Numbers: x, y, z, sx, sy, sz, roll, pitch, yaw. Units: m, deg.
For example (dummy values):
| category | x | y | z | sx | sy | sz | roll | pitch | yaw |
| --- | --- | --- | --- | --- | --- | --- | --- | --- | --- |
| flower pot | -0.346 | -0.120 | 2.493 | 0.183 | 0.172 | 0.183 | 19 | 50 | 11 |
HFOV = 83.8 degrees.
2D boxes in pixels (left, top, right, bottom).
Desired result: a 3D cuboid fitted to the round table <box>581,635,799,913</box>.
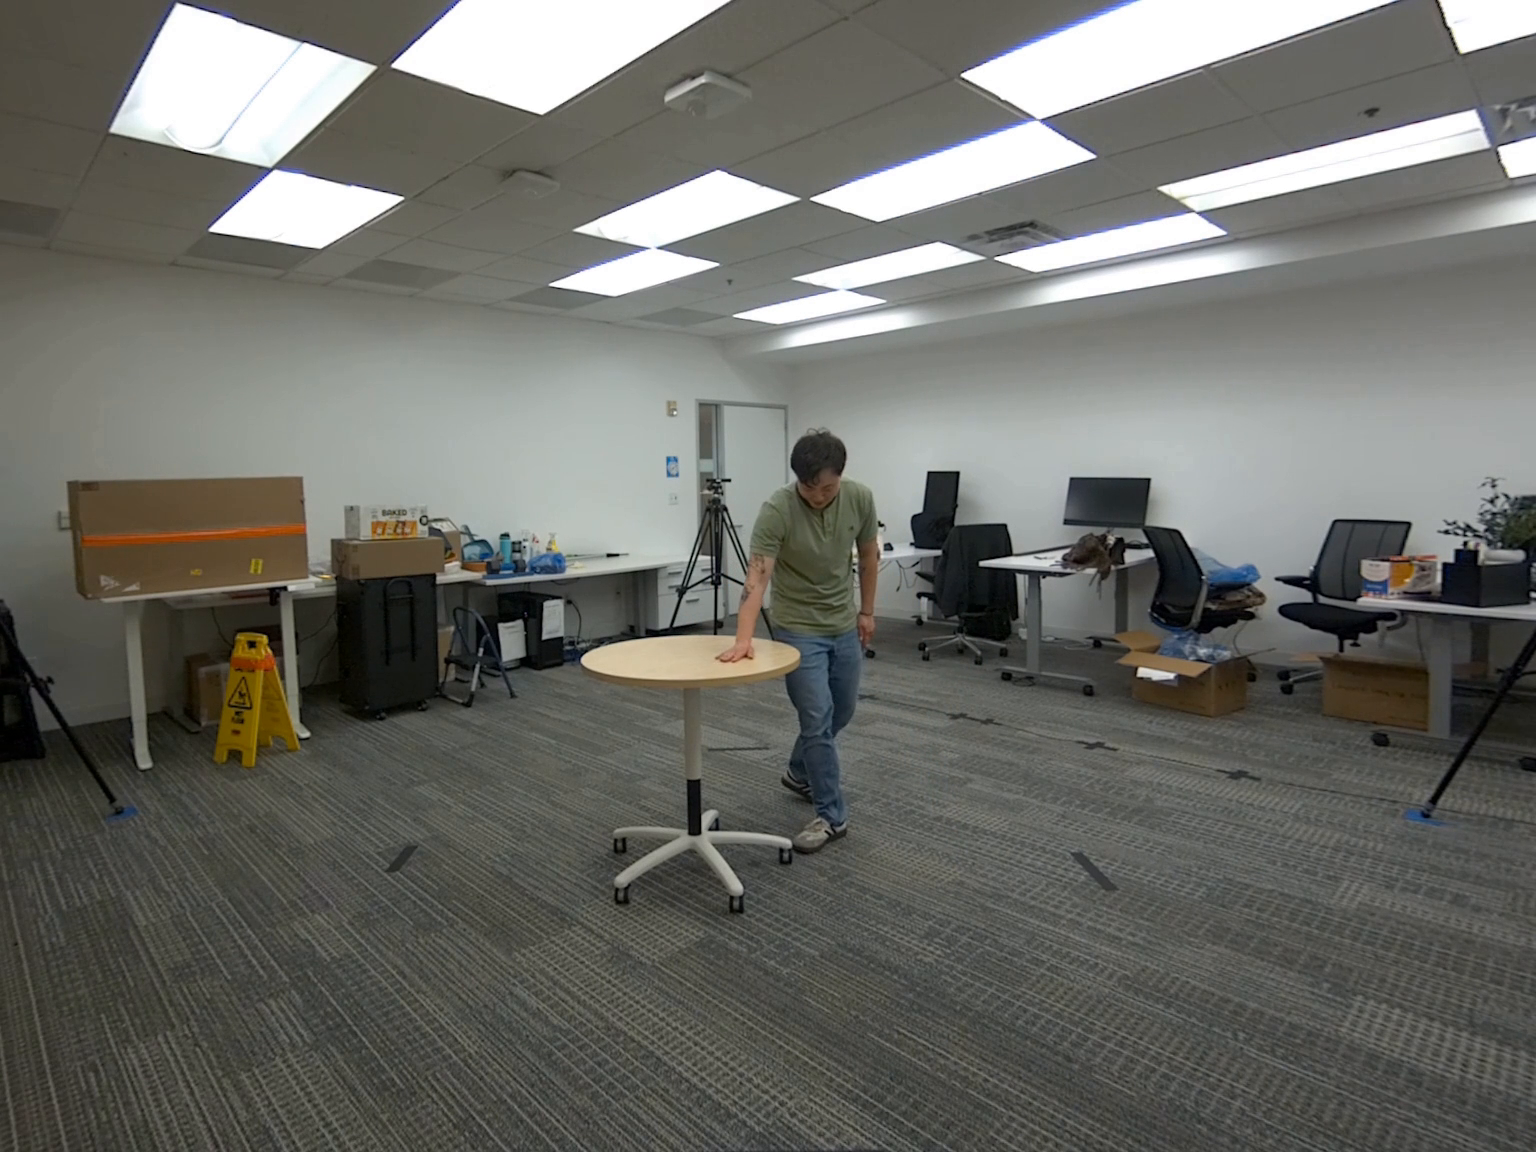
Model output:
| category | x | y | z | sx | sy | sz | roll | pitch | yaw |
| --- | --- | --- | --- | --- | --- | --- | --- | --- | --- |
| round table | -0.263 | 0.669 | 3.021 | 0.763 | 0.791 | 0.768 | -1 | 5 | -2 |
